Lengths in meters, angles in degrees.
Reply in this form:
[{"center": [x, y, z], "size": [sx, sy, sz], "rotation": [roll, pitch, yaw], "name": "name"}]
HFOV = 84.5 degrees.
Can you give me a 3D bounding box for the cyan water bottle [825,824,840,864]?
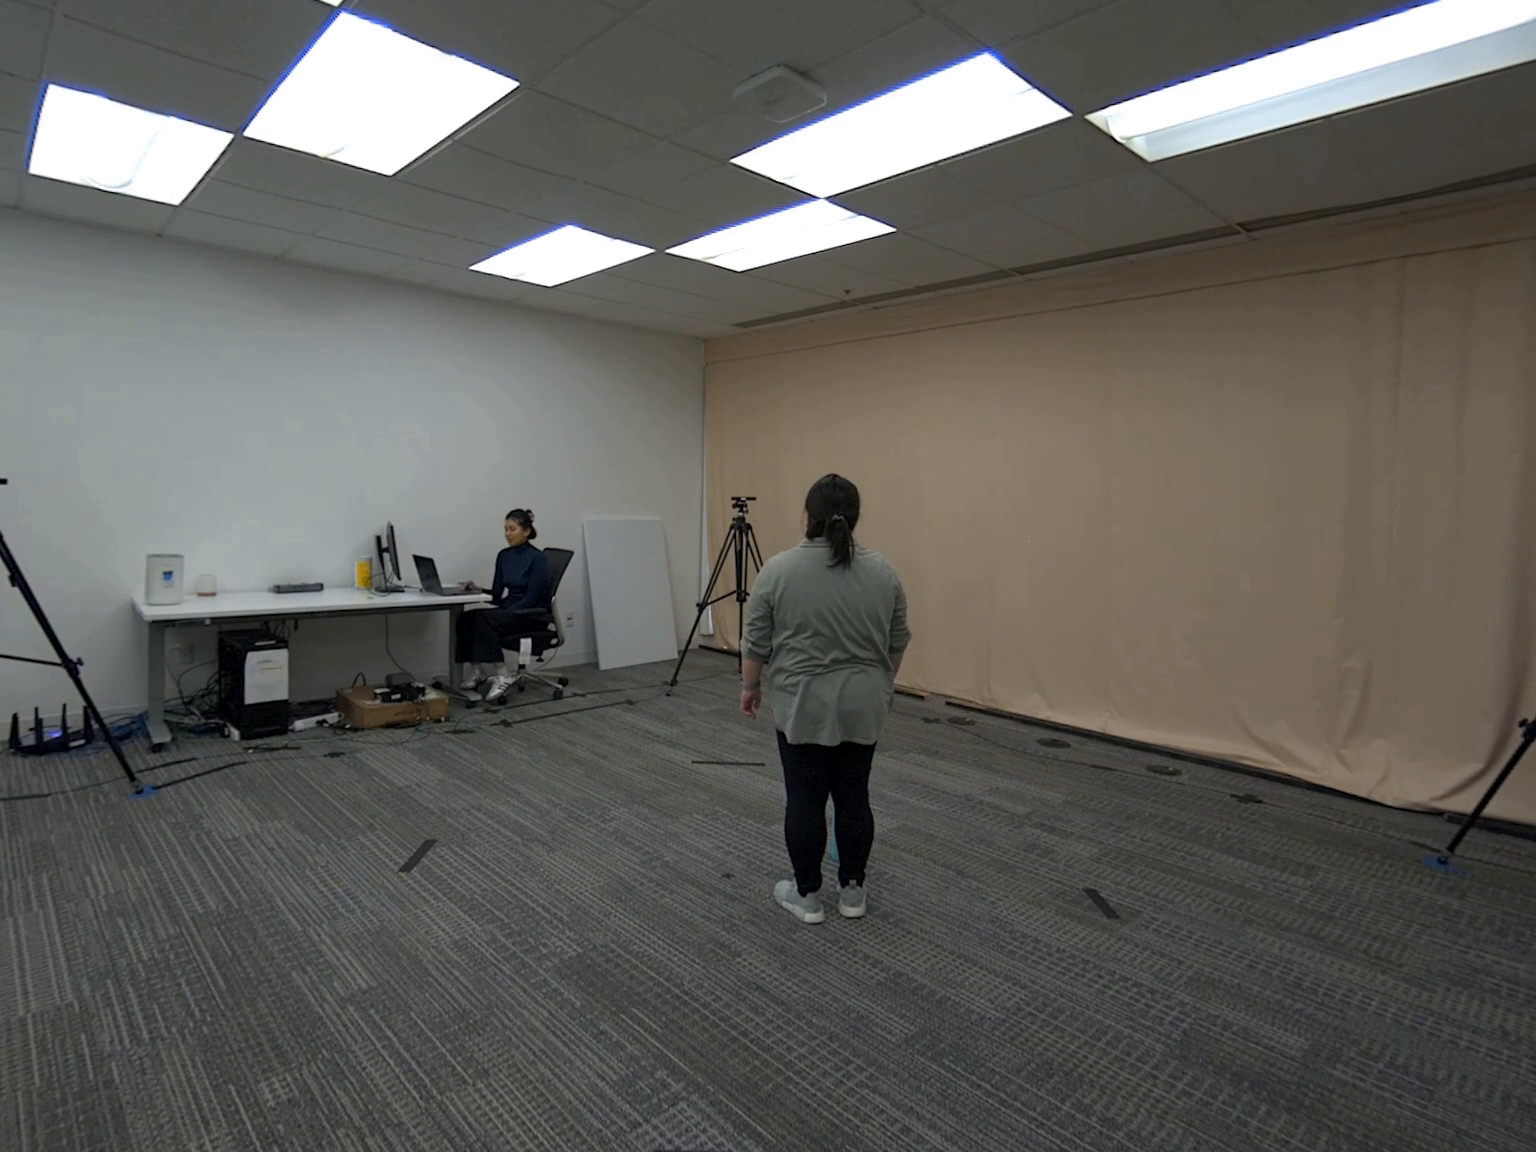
[{"center": [0.299, 0.964, 3.279], "size": [0.092, 0.283, 0.092], "rotation": [2, 2, -1], "name": "cyan water bottle"}]
